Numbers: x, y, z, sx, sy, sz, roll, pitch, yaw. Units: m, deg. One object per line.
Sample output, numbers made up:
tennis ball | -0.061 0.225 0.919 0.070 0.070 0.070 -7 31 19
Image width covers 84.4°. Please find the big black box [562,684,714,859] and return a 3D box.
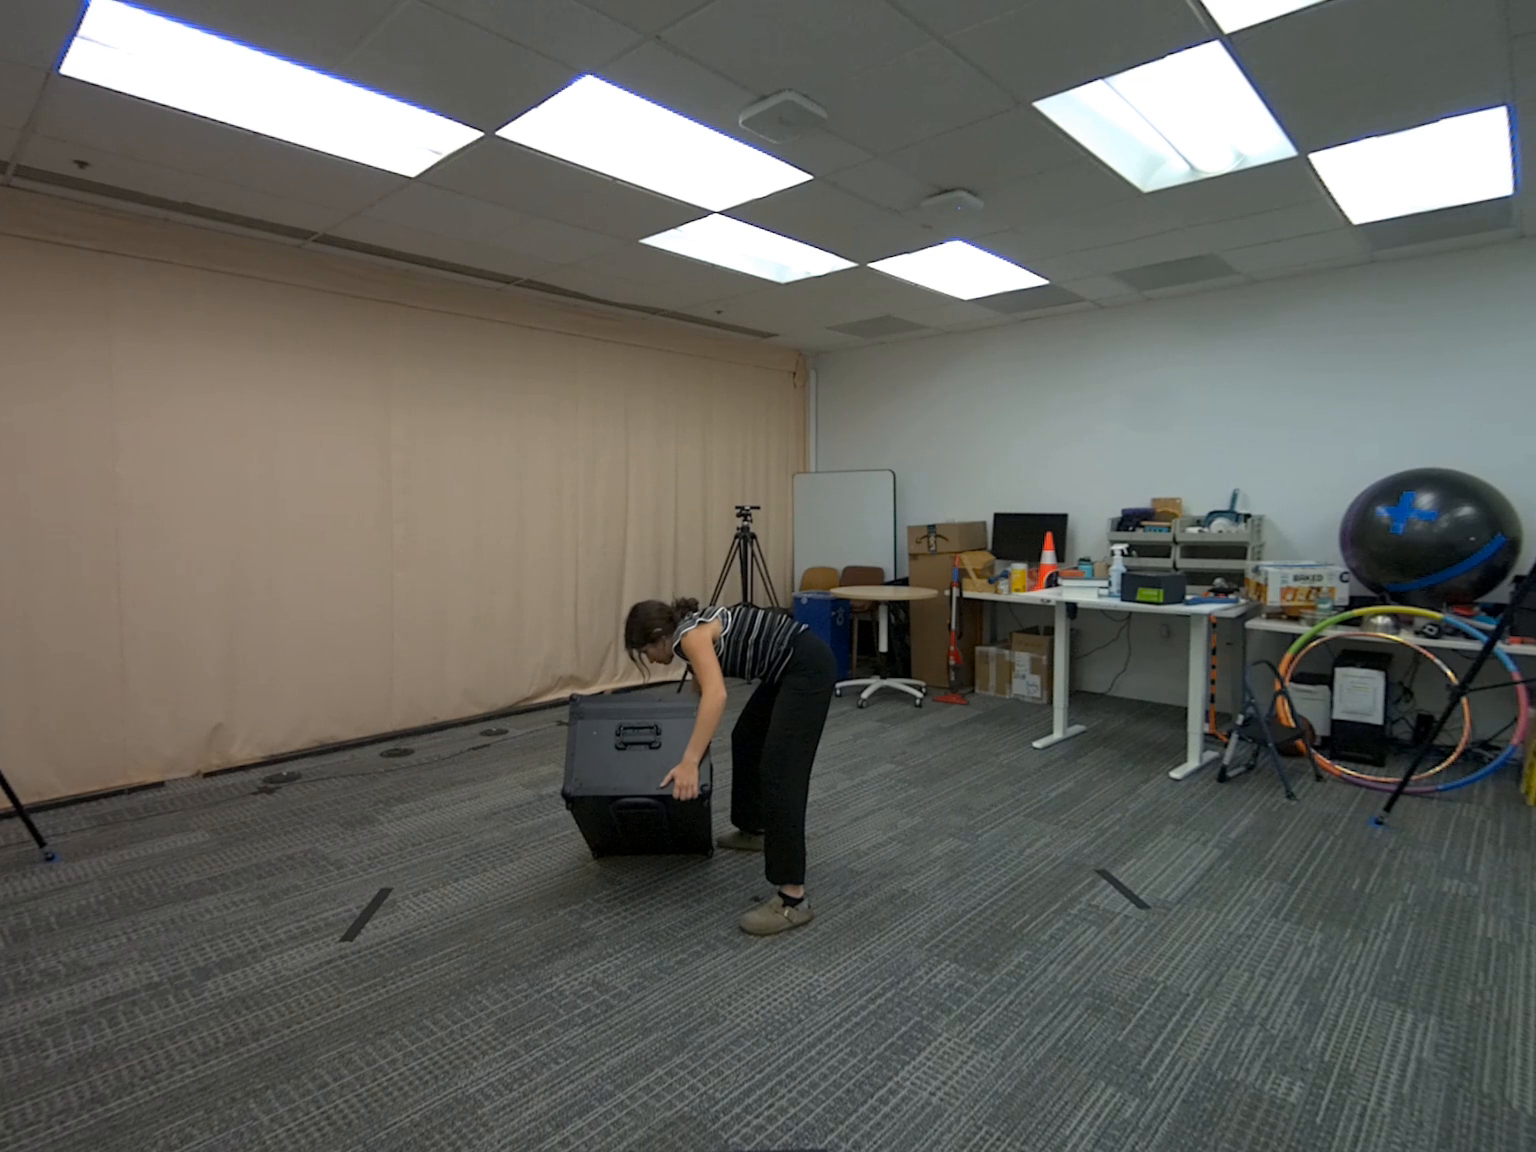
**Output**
big black box | -0.461 0.790 3.149 0.521 0.403 0.848 0 -32 -2
